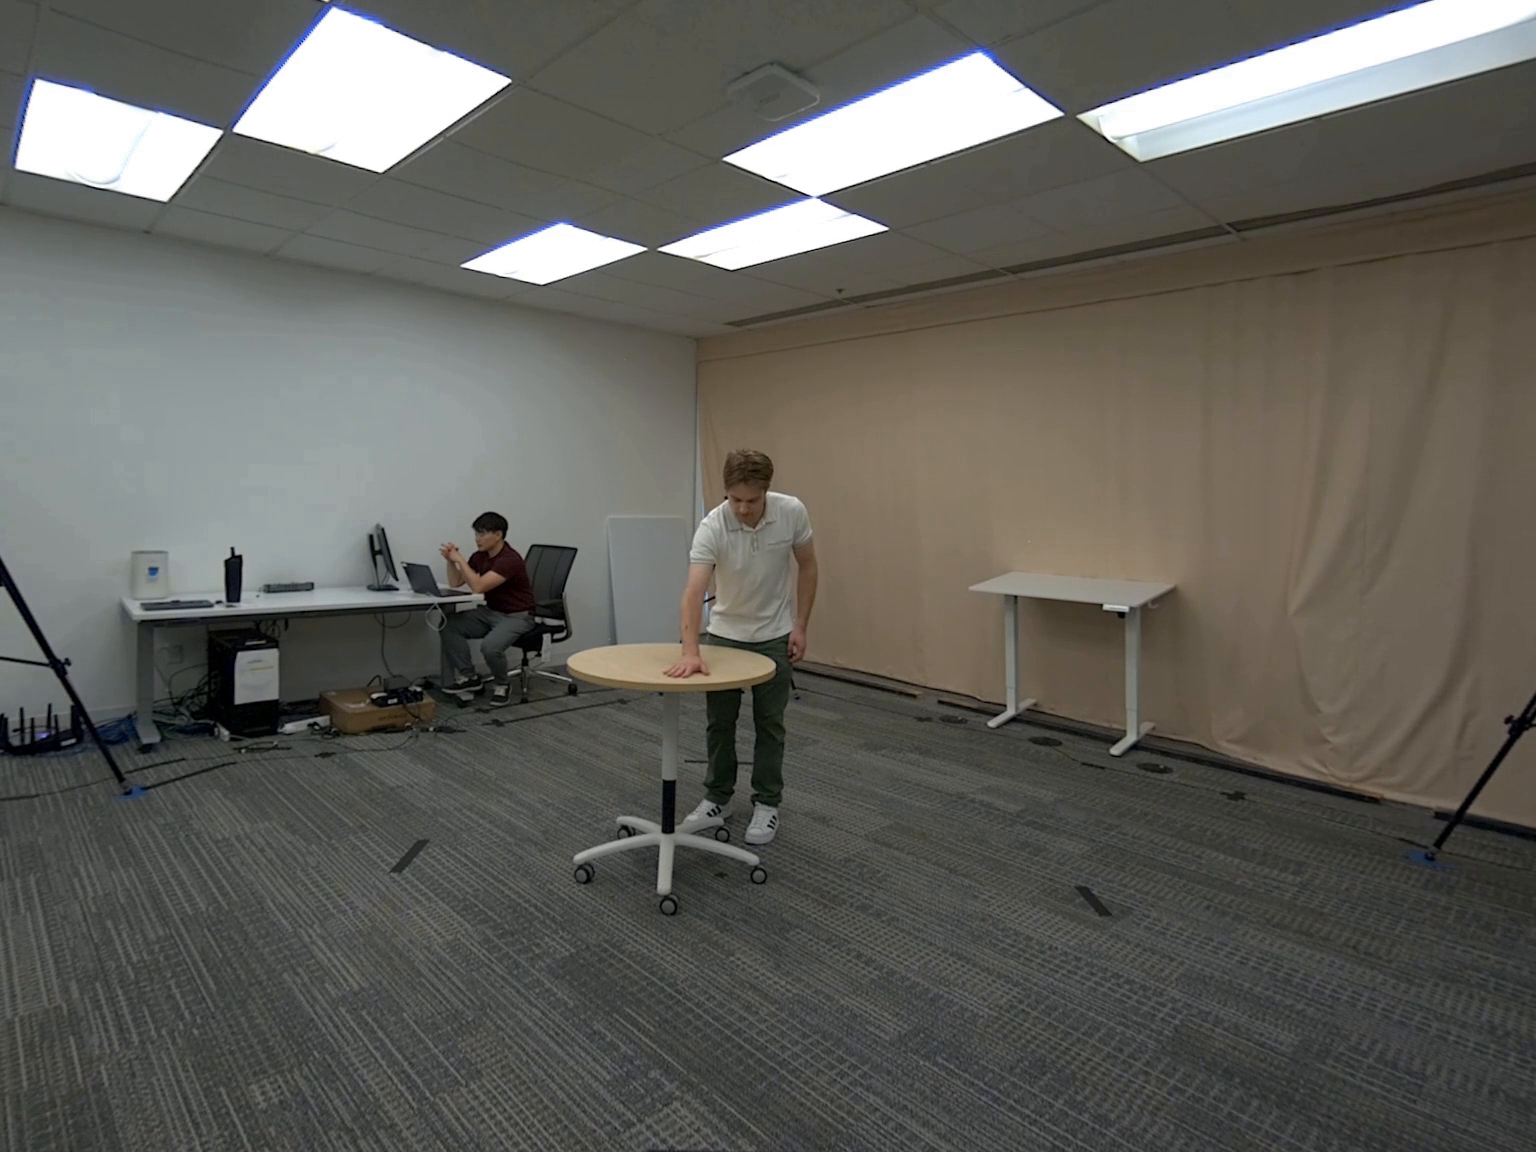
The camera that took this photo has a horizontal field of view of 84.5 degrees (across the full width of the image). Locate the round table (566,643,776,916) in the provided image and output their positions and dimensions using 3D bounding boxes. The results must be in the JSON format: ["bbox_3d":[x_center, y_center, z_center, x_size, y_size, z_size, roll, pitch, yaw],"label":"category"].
[{"bbox_3d":[-0.387,0.703,3.119,0.784,0.785,0.787,2,4,-1],"label":"round table"}]
